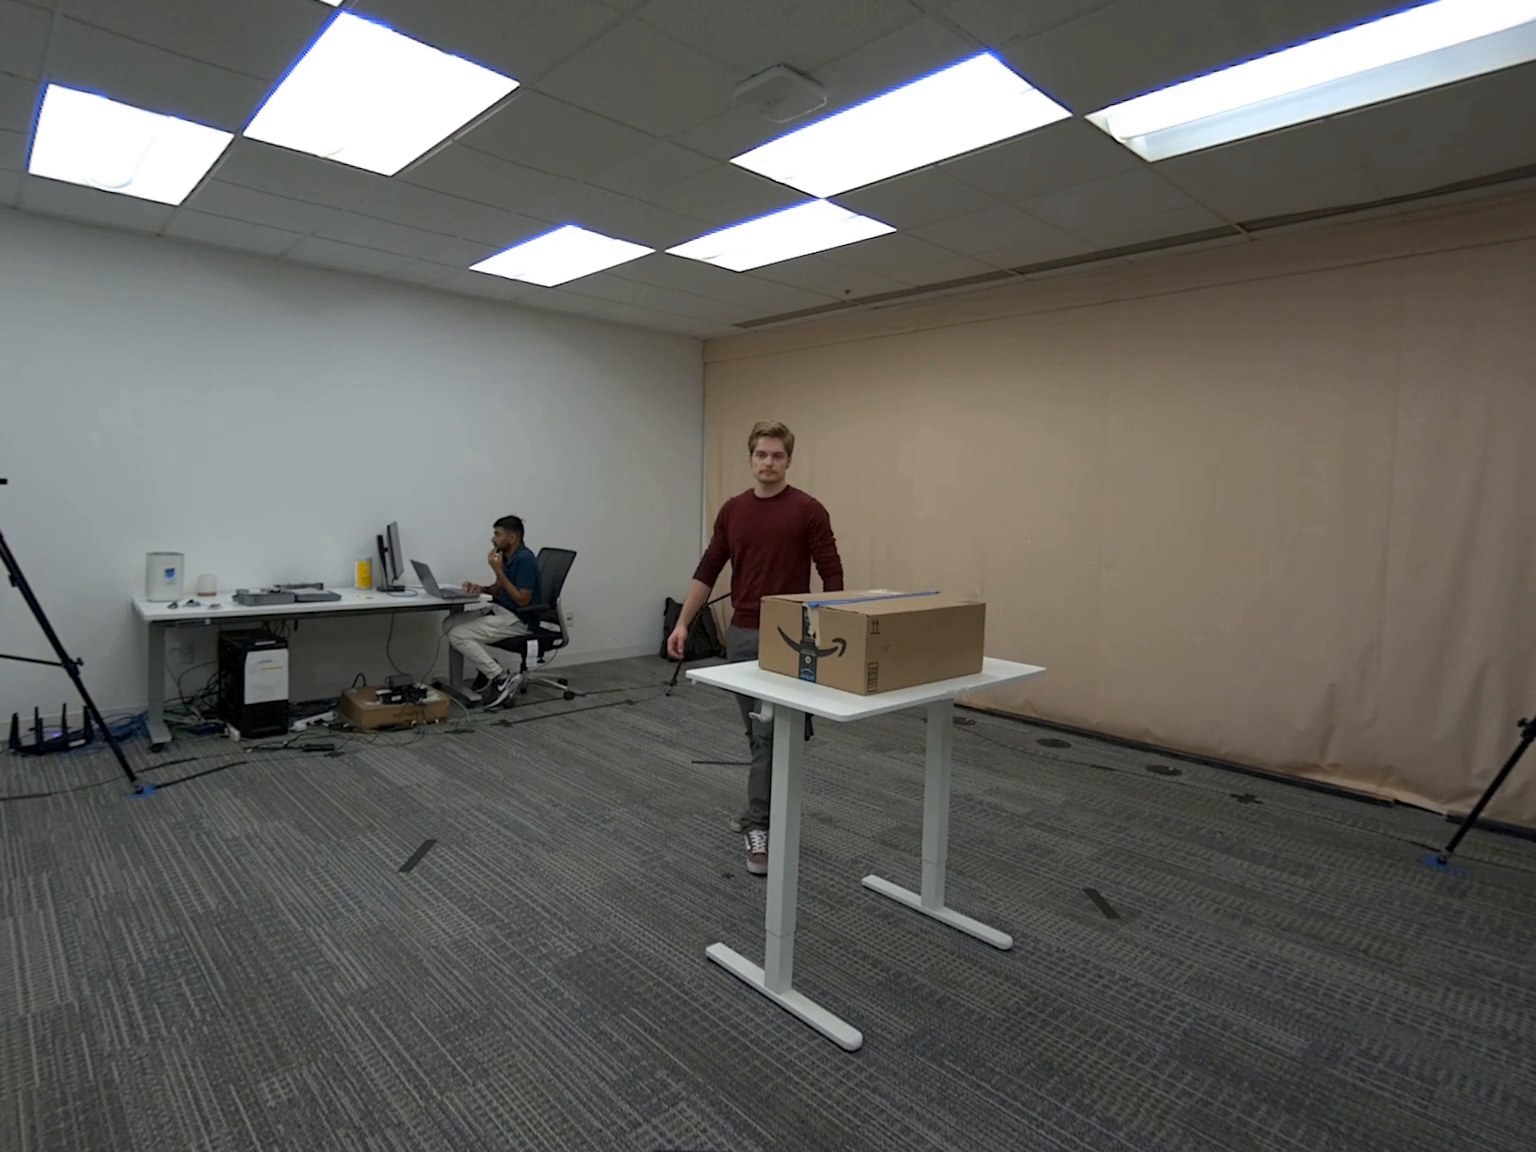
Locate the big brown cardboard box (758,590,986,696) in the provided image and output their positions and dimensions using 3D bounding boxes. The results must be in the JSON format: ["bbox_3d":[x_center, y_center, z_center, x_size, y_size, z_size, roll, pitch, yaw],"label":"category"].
[{"bbox_3d":[0.320,0.180,2.534,0.576,0.232,0.428,-4,7,-43],"label":"big brown cardboard box"}]
